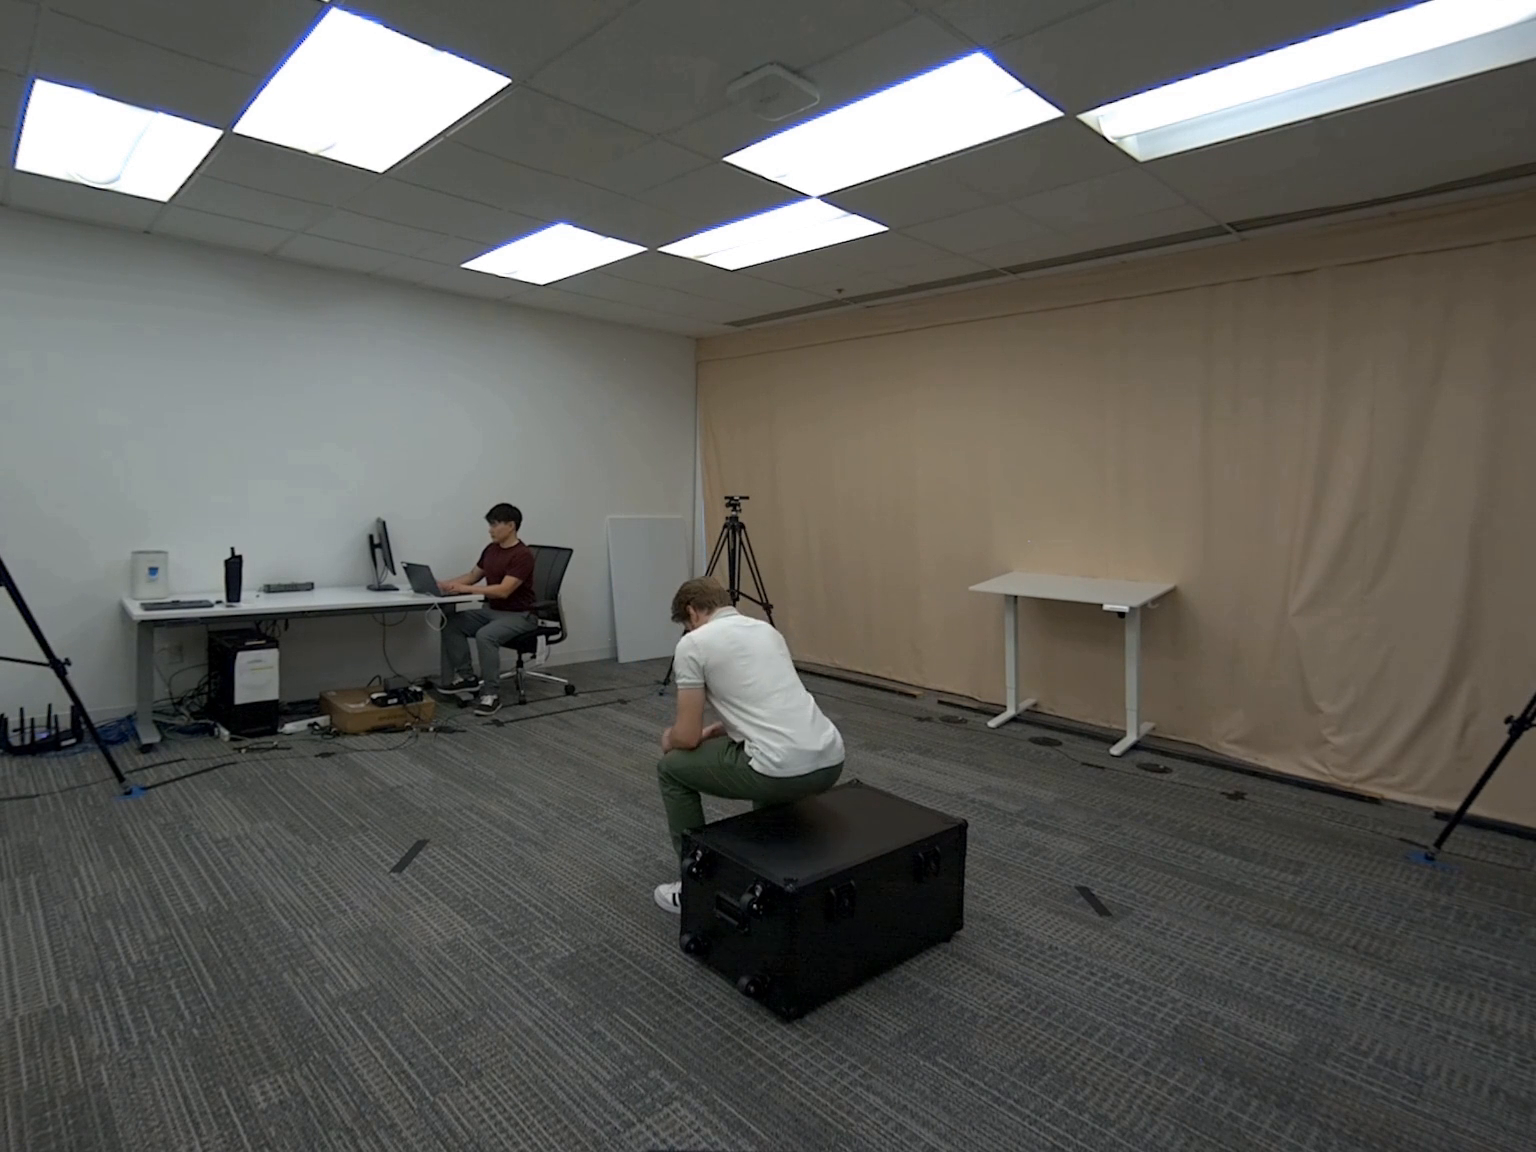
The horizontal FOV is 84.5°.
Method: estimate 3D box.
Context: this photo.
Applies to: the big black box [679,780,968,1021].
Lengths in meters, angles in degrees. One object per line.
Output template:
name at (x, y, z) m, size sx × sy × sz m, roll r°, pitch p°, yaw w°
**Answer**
big black box at (0.152, 0.962, 2.606) m, size 0.849 × 0.384 × 0.537 m, roll -2°, pitch 7°, yaw -40°
